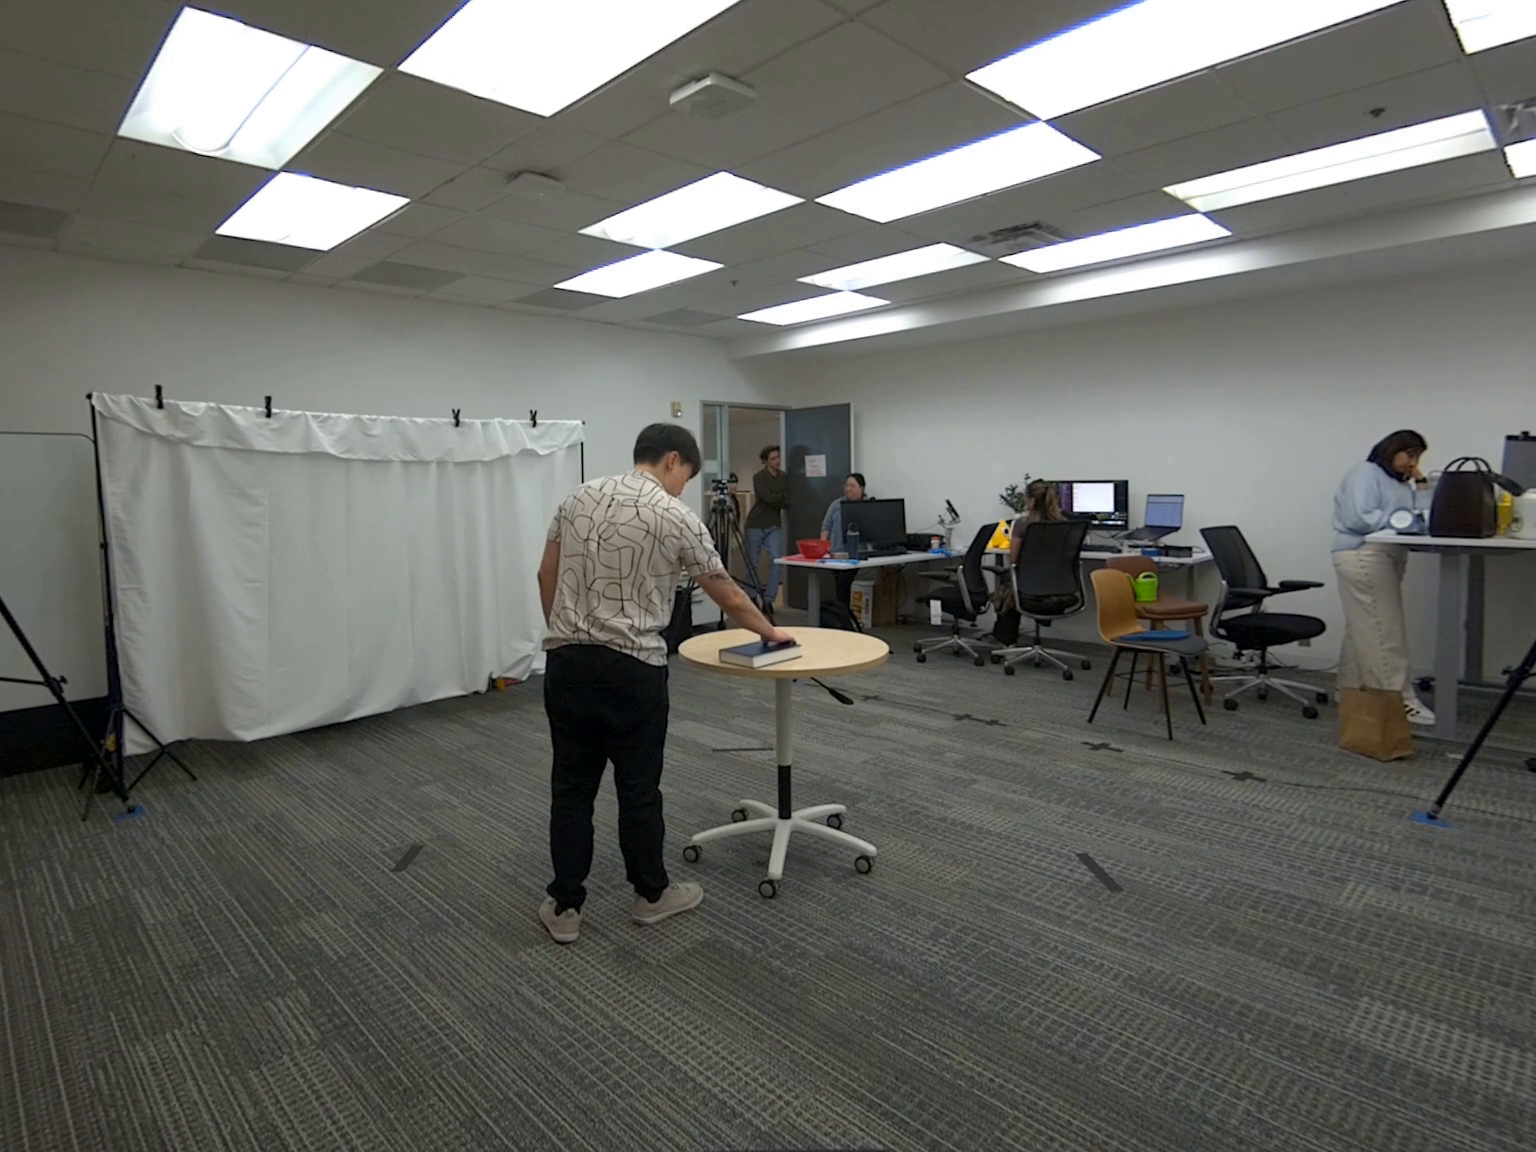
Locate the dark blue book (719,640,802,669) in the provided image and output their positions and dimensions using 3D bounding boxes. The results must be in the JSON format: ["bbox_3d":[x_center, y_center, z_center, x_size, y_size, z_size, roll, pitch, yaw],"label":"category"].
[{"bbox_3d":[-0.023,0.266,2.910,0.168,0.045,0.239,6,9,44],"label":"dark blue book"}]
